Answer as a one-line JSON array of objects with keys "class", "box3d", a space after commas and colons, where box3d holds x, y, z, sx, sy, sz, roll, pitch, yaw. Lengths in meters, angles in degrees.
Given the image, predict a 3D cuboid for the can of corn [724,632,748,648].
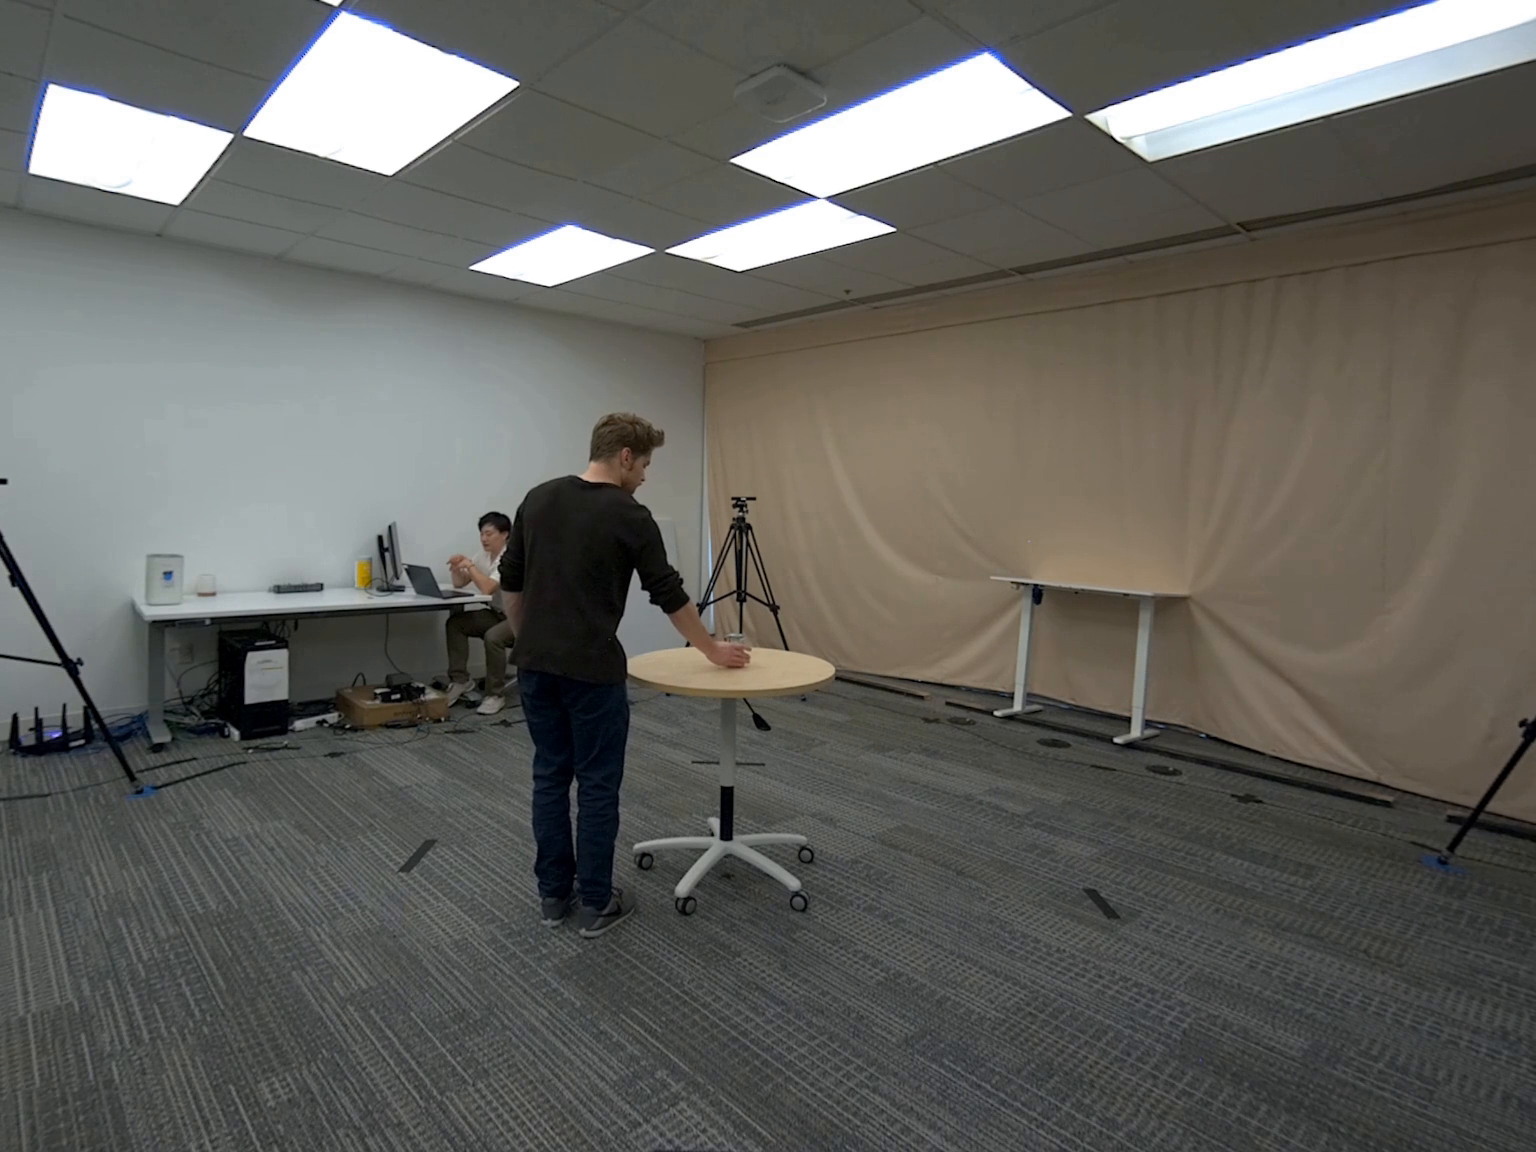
[{"class": "can of corn", "box3d": [-0.127, 0.273, 3.050, 0.074, 0.110, 0.074, 0, 5, -1]}]
